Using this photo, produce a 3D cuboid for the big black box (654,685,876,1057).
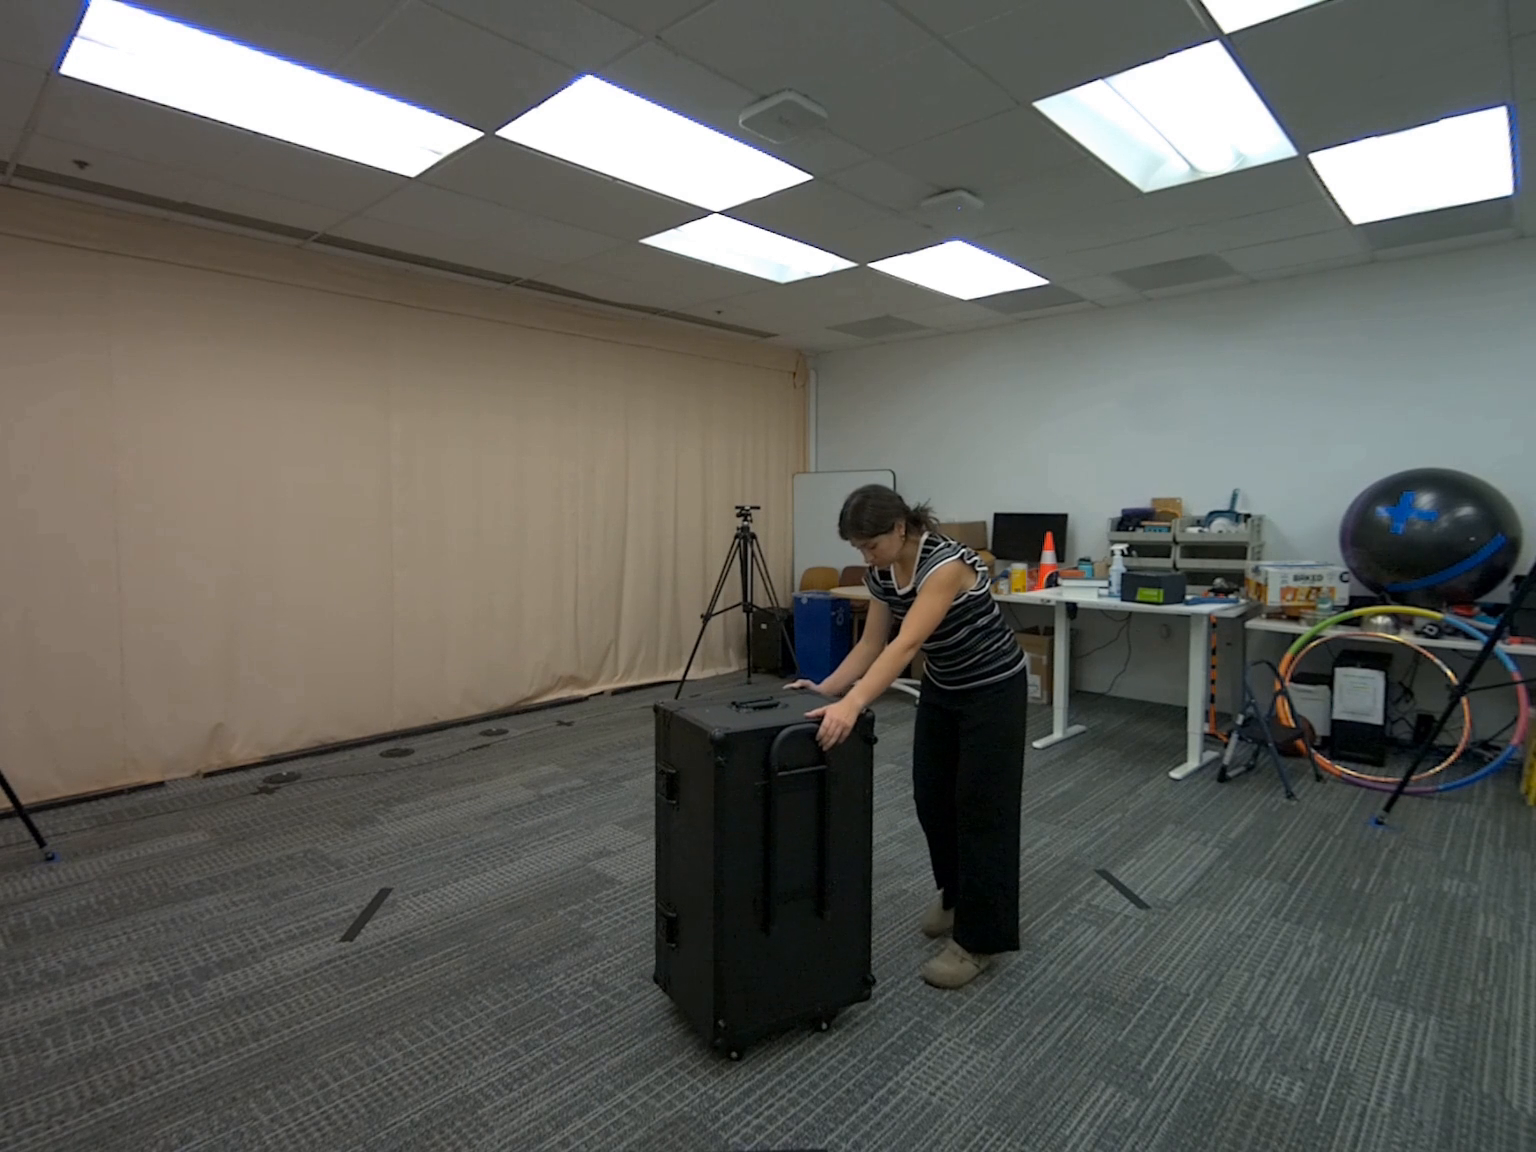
[{"bbox_3d":[-0.003,0.781,2.273,0.507,0.859,0.408,-1,5,-30],"label":"big black box"}]
